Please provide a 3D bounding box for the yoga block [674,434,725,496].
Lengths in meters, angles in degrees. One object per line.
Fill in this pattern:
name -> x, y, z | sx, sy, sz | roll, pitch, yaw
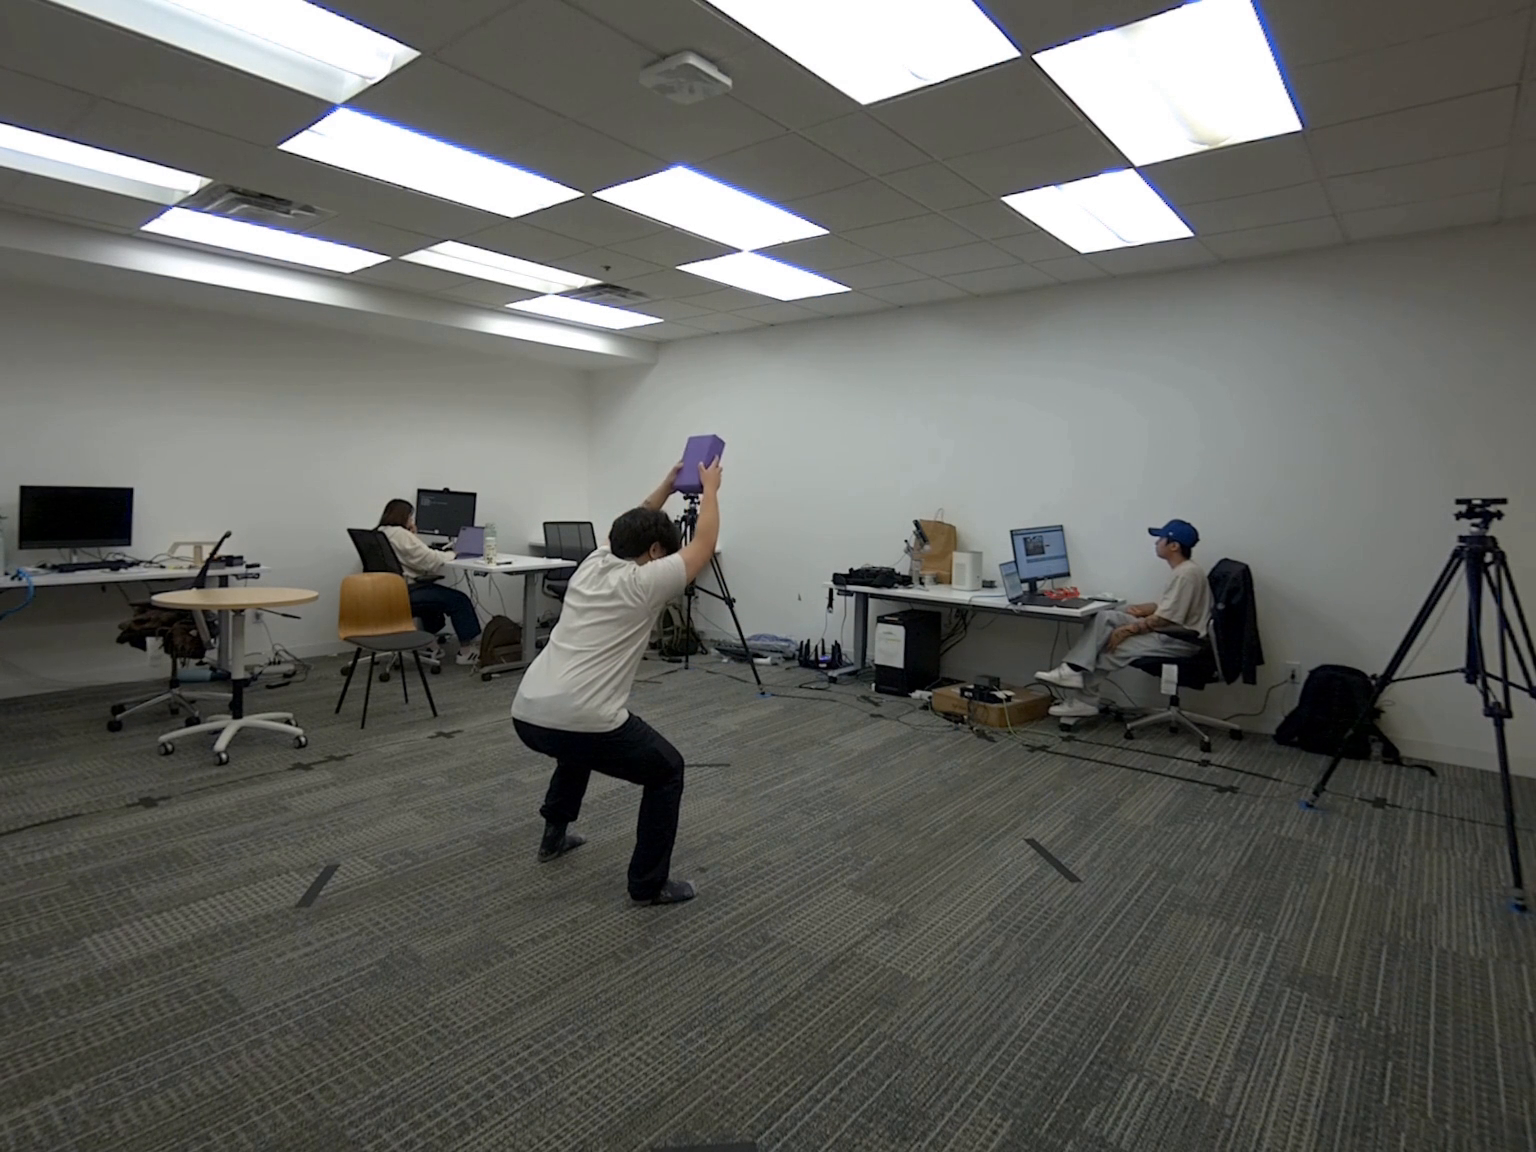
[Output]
yoga block -> -0.274, -0.432, 3.329 | 0.154, 0.232, 0.073 | 2, -22, 39
